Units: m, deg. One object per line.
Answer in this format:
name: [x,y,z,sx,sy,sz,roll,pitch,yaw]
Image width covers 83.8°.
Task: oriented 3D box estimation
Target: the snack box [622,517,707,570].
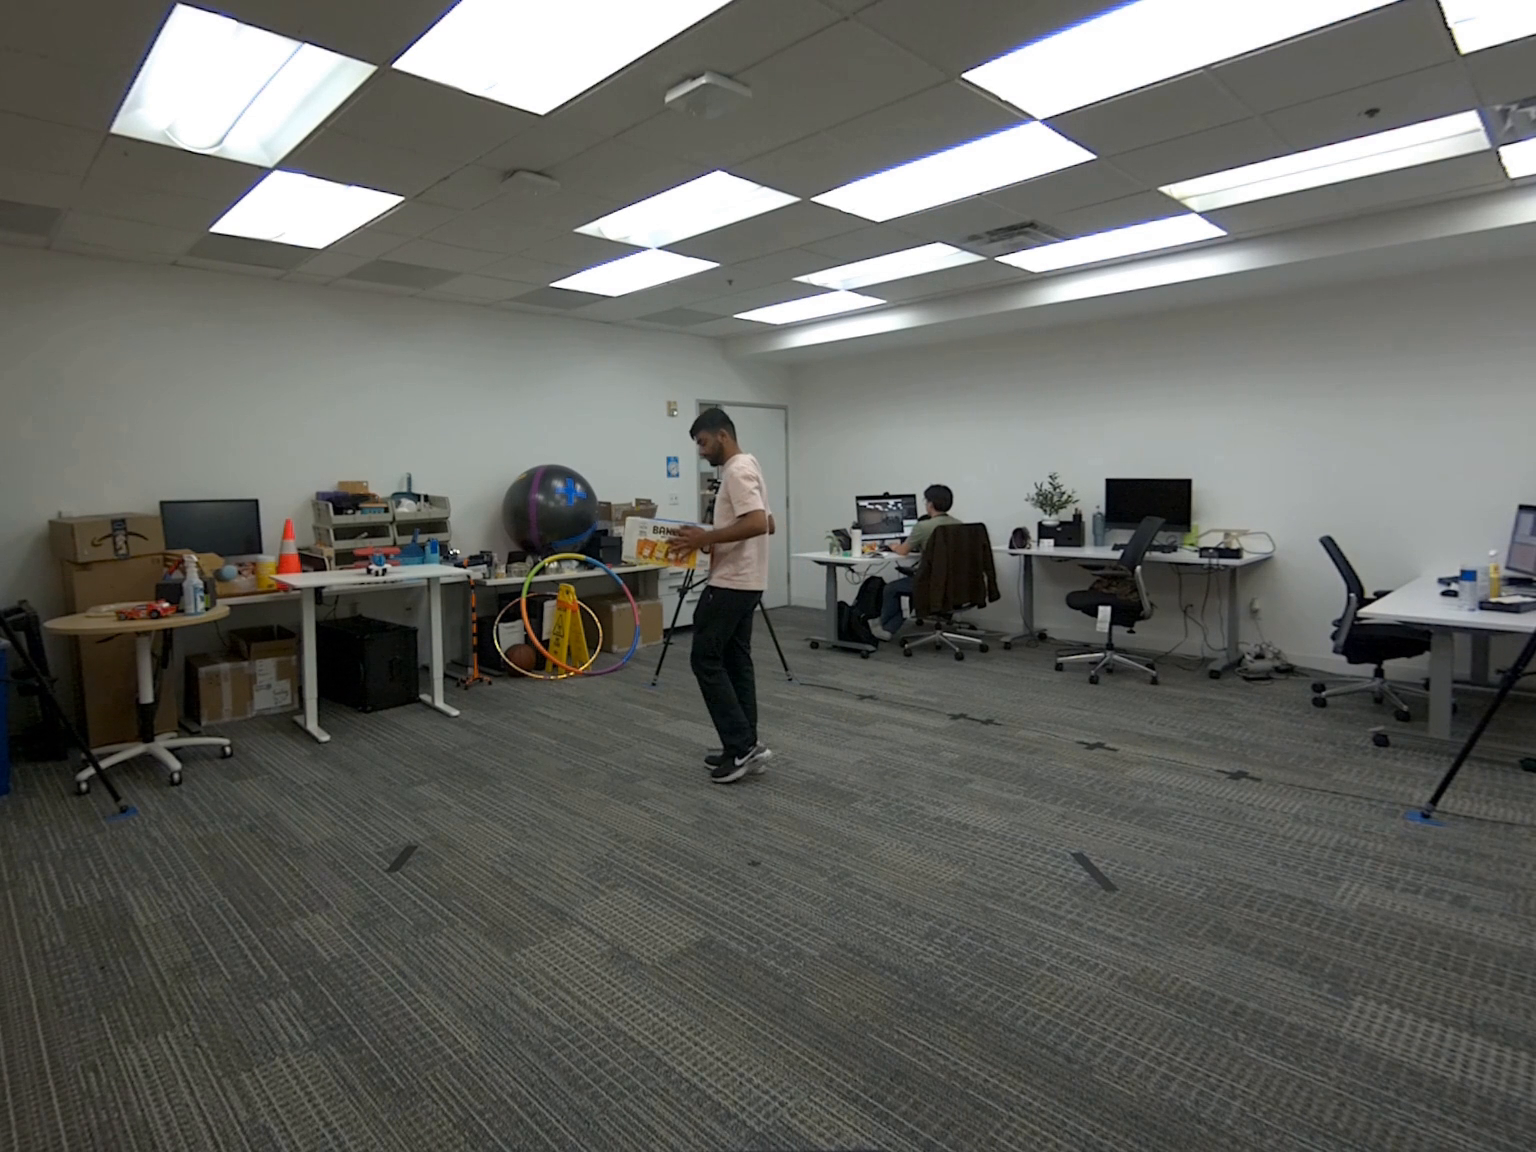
snack box: [-0.452,-0.158,4.061,0.407,0.205,0.340,6,3,3]
